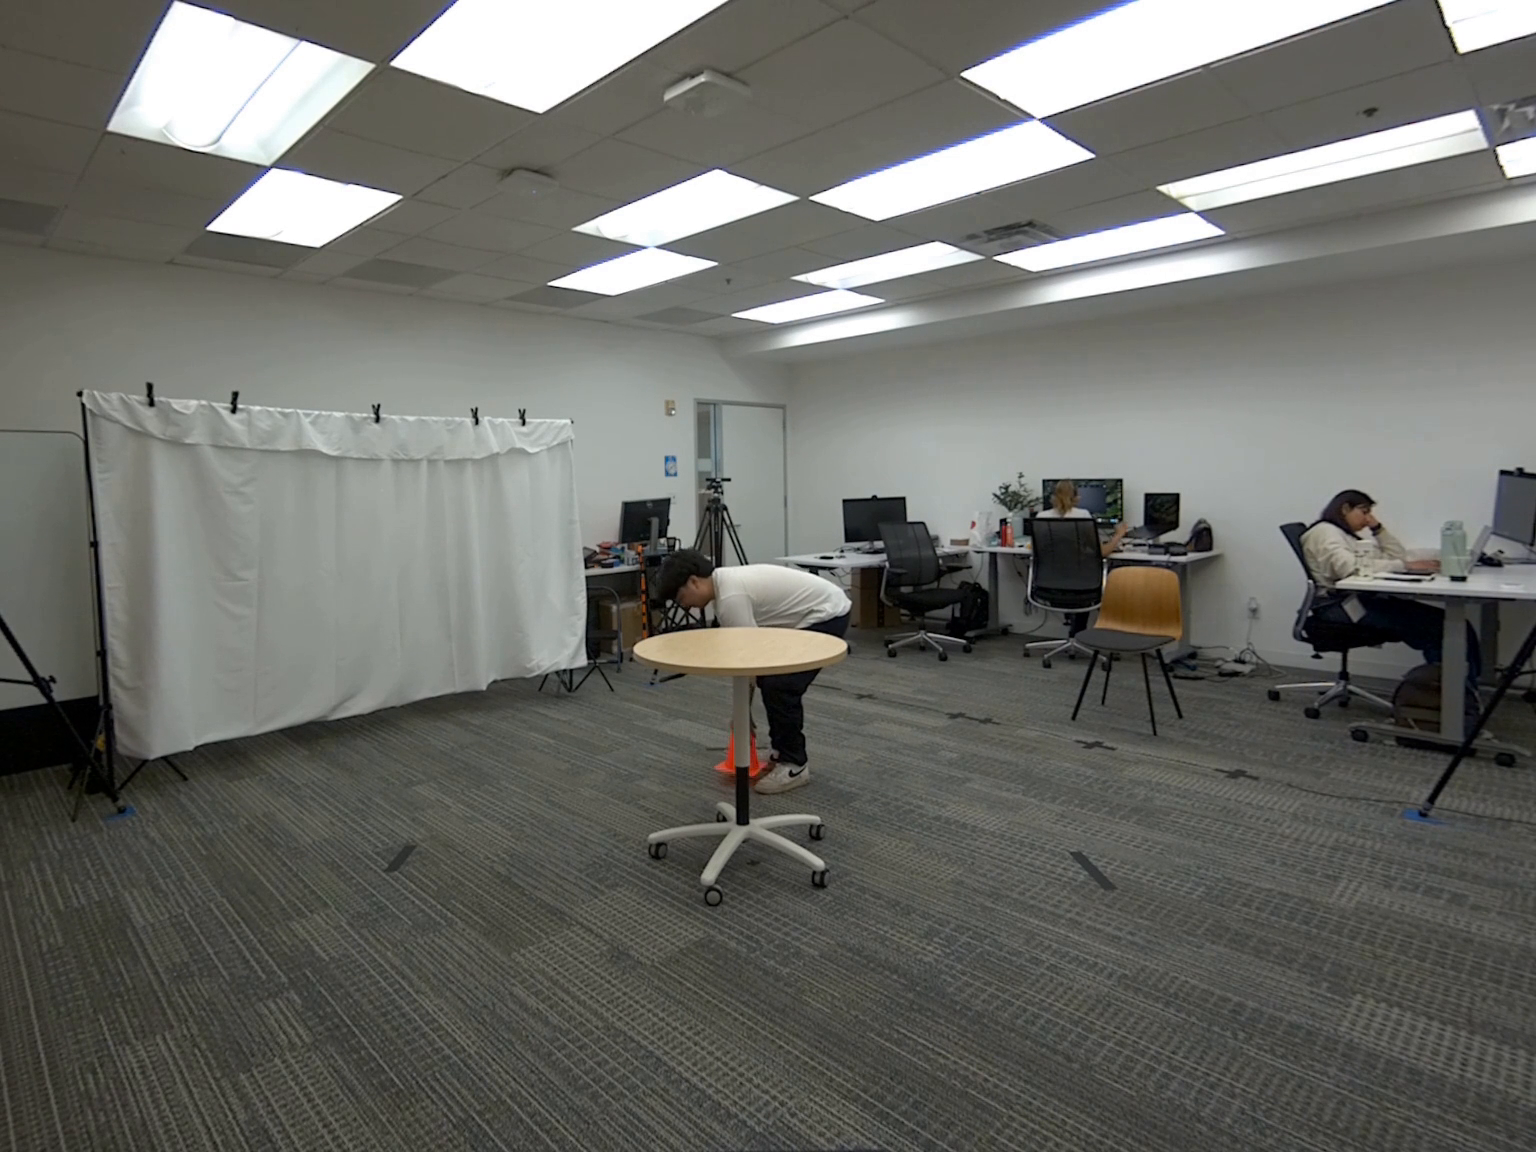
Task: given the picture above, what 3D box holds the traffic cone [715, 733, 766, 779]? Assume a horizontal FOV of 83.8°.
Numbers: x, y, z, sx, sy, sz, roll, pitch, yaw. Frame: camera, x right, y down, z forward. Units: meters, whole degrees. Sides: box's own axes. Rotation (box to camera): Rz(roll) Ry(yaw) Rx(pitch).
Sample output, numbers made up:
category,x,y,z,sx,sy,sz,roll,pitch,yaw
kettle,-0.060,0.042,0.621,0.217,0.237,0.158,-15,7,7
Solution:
category,x,y,z,sx,sy,sz,roll,pitch,yaw
traffic cone,-0.114,0.701,3.997,0.199,0.383,0.209,0,2,-45
